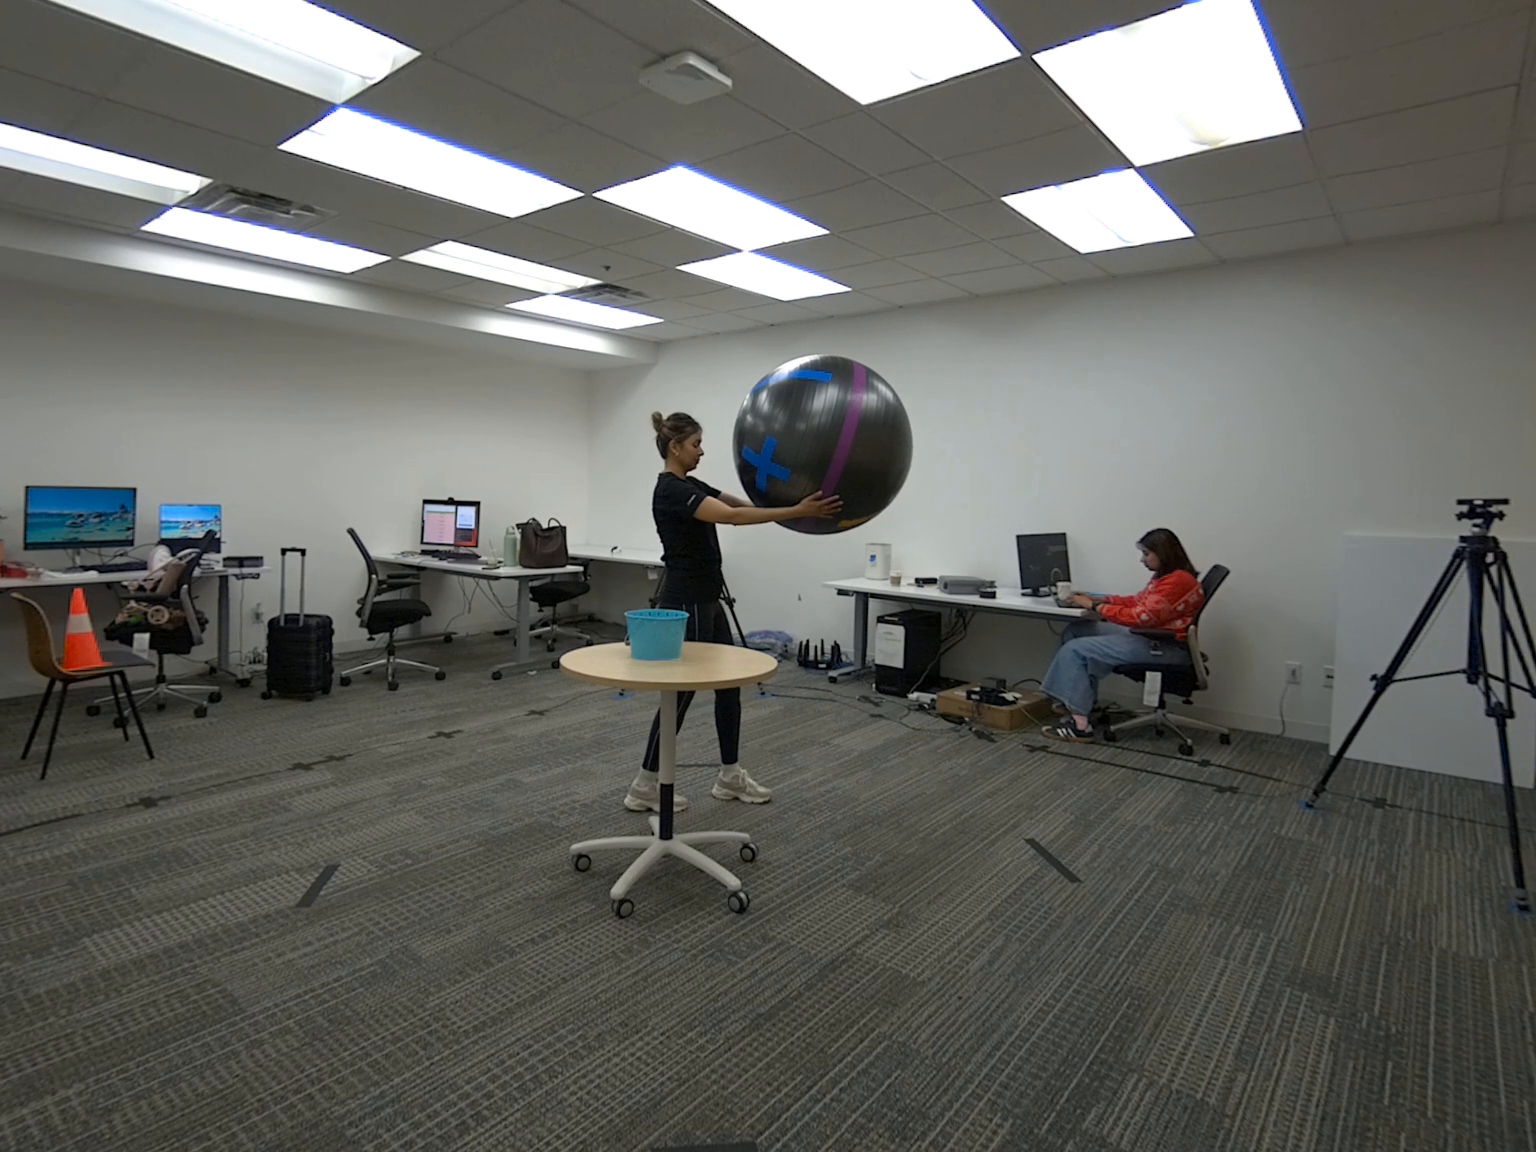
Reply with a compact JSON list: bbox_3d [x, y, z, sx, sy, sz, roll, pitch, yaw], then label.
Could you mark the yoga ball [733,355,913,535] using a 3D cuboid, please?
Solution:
[{"bbox_3d":[0.217,-0.553,3.619,0.757,0.756,0.761,1,4,-2],"label":"yoga ball"}]
